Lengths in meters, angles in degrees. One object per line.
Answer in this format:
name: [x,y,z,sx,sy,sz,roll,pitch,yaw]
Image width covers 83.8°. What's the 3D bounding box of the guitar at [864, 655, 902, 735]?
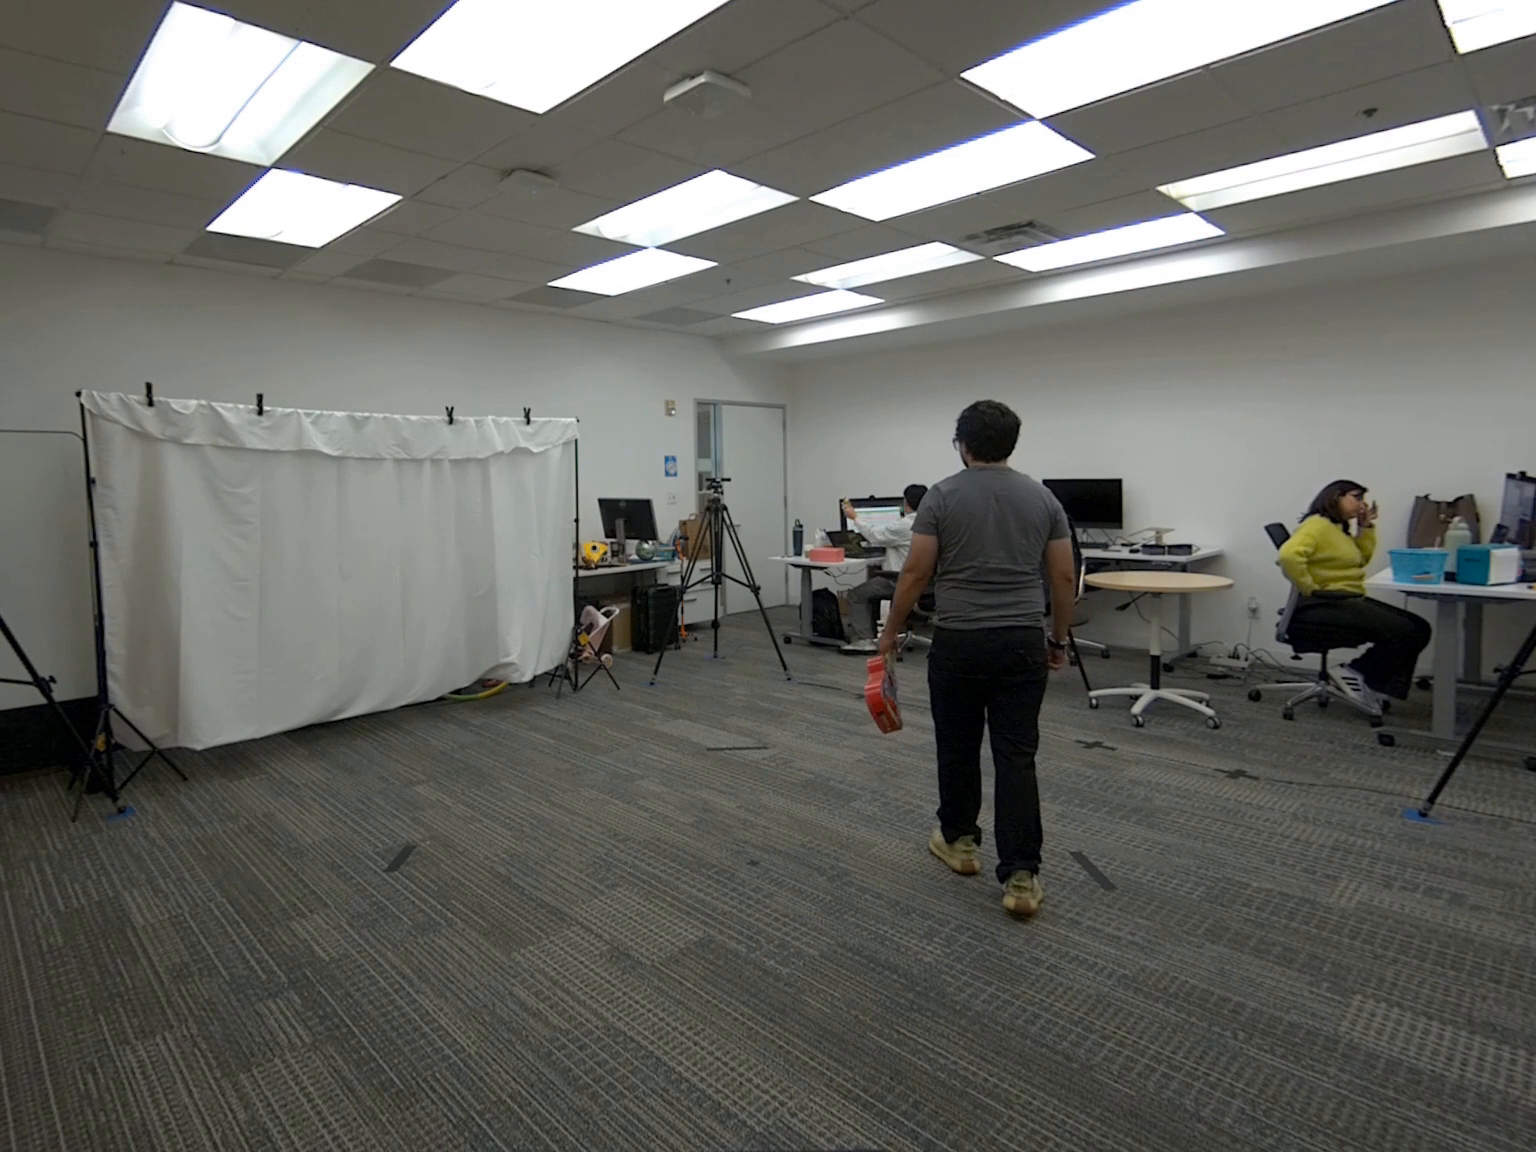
guitar: [0.423,0.348,3.035,0.071,0.188,0.505,-18,25,19]
